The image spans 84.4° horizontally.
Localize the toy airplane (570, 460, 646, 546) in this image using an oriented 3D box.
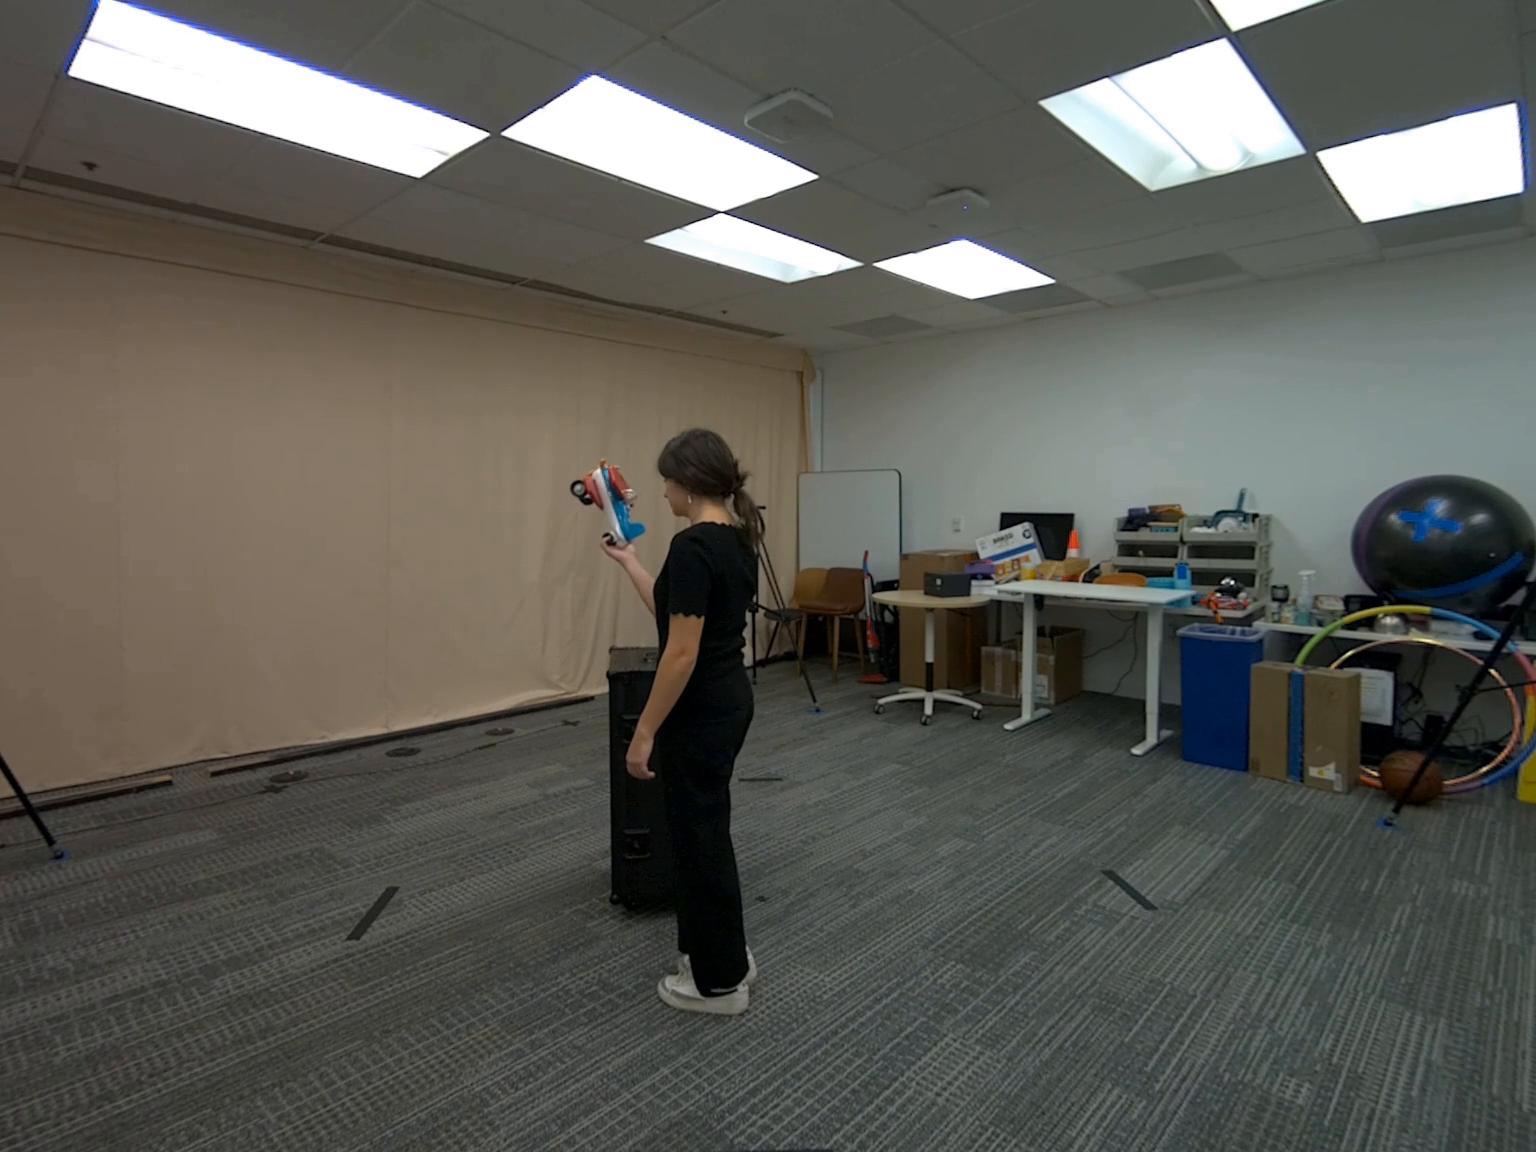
[{"bbox_3d":[-0.485,-0.213,2.617,0.156,0.255,0.255,-35,15,-1],"label":"toy airplane"}]
